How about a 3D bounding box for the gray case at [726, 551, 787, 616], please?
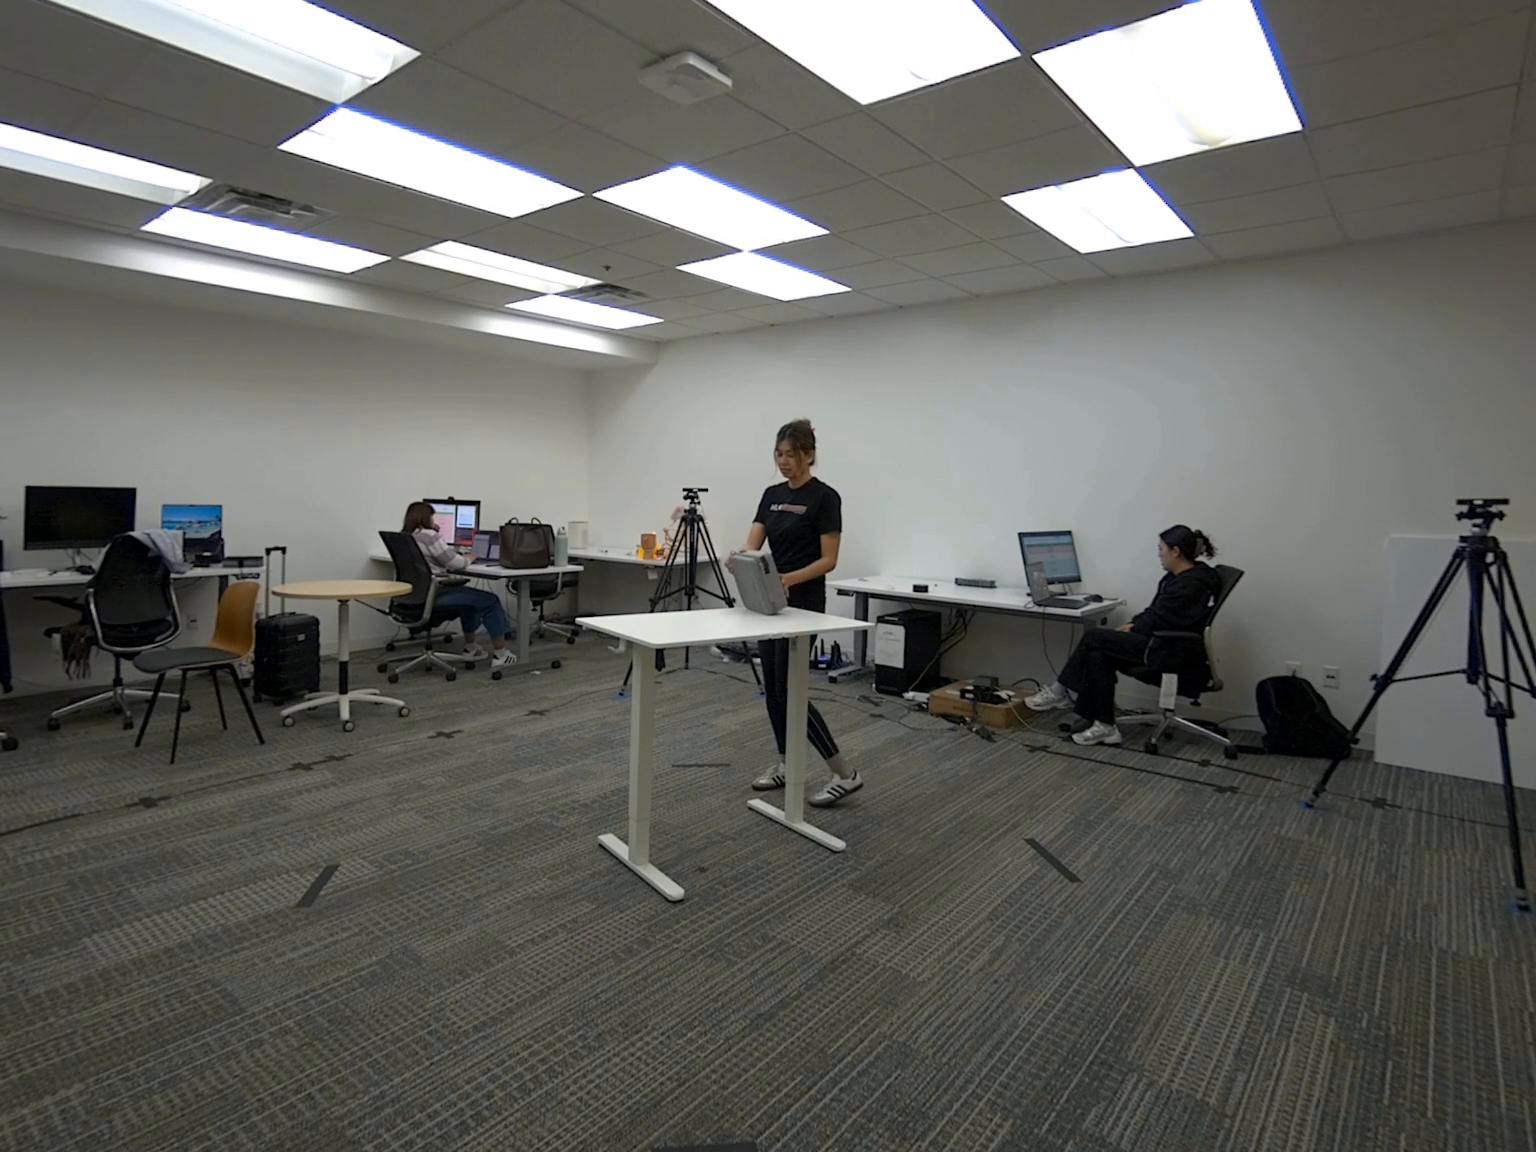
[{"bbox_3d":[-0.054,0.023,3.553,0.103,0.254,0.268,-18,13,-24],"label":"gray case"}]
